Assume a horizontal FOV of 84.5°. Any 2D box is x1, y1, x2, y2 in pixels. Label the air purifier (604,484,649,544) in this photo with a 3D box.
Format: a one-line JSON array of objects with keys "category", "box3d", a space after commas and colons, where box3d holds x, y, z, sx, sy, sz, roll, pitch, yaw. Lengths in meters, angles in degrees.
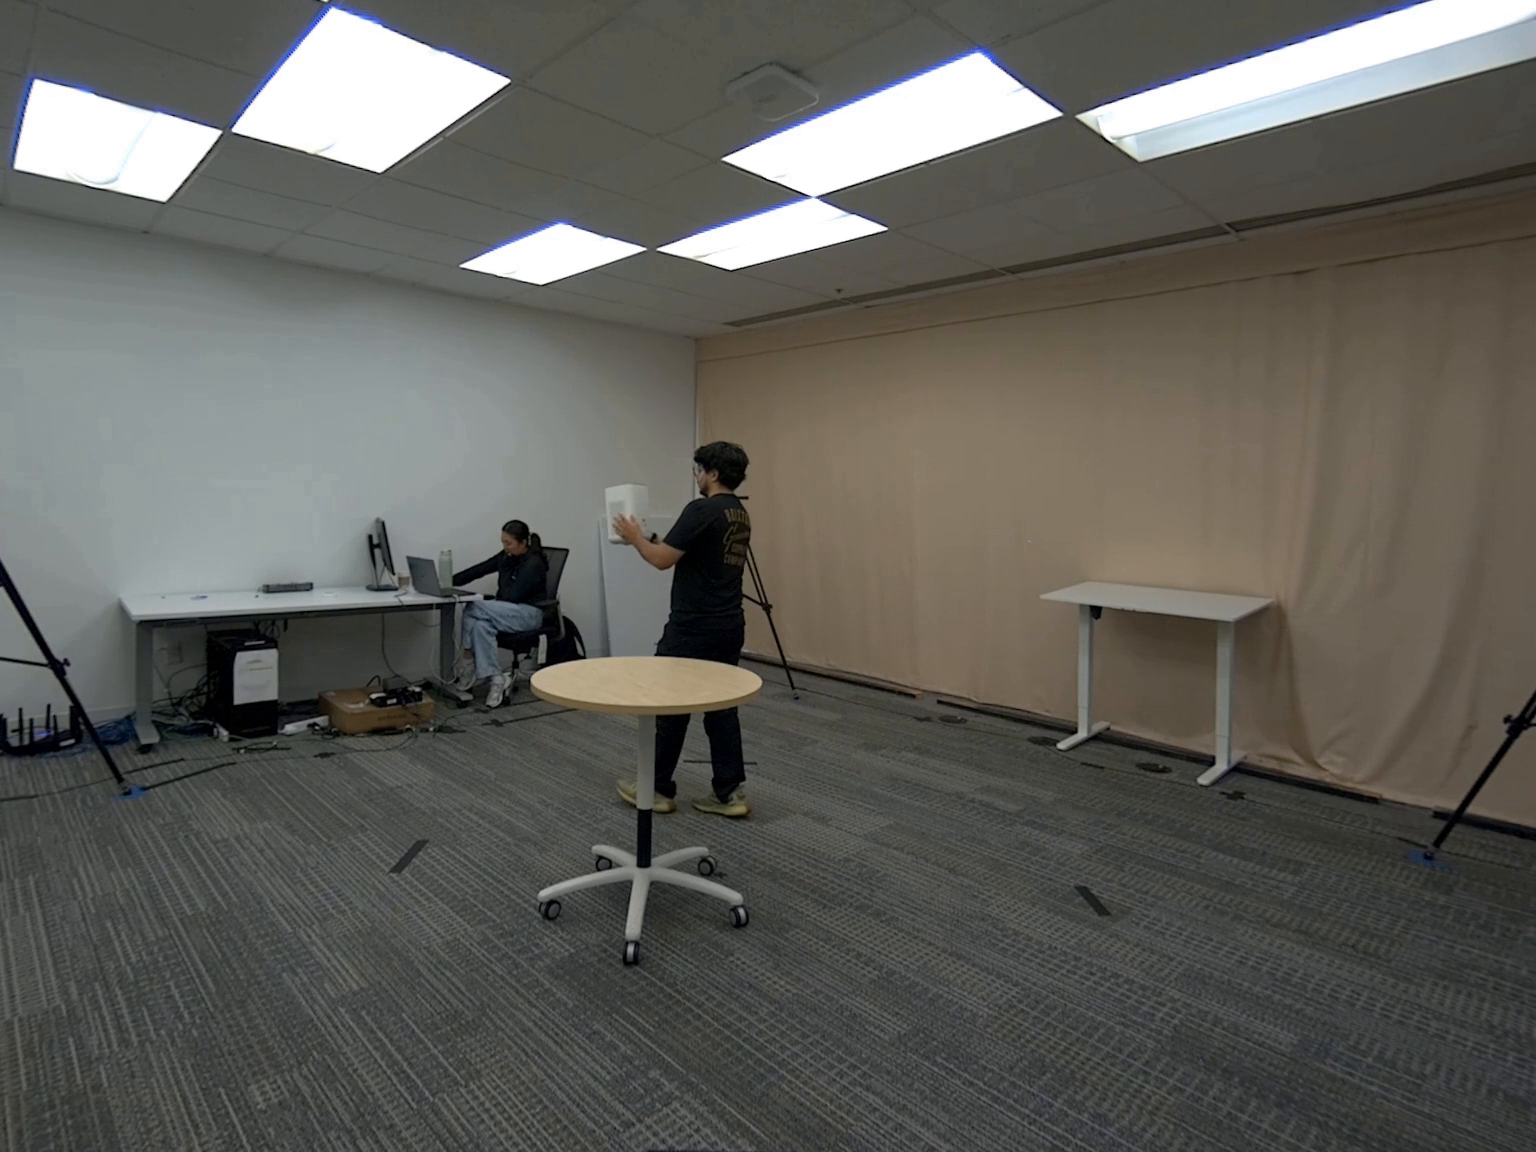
[{"category": "air purifier", "box3d": [-0.652, -0.285, 3.903, 0.174, 0.266, 0.167, -7, -5, 26]}]
